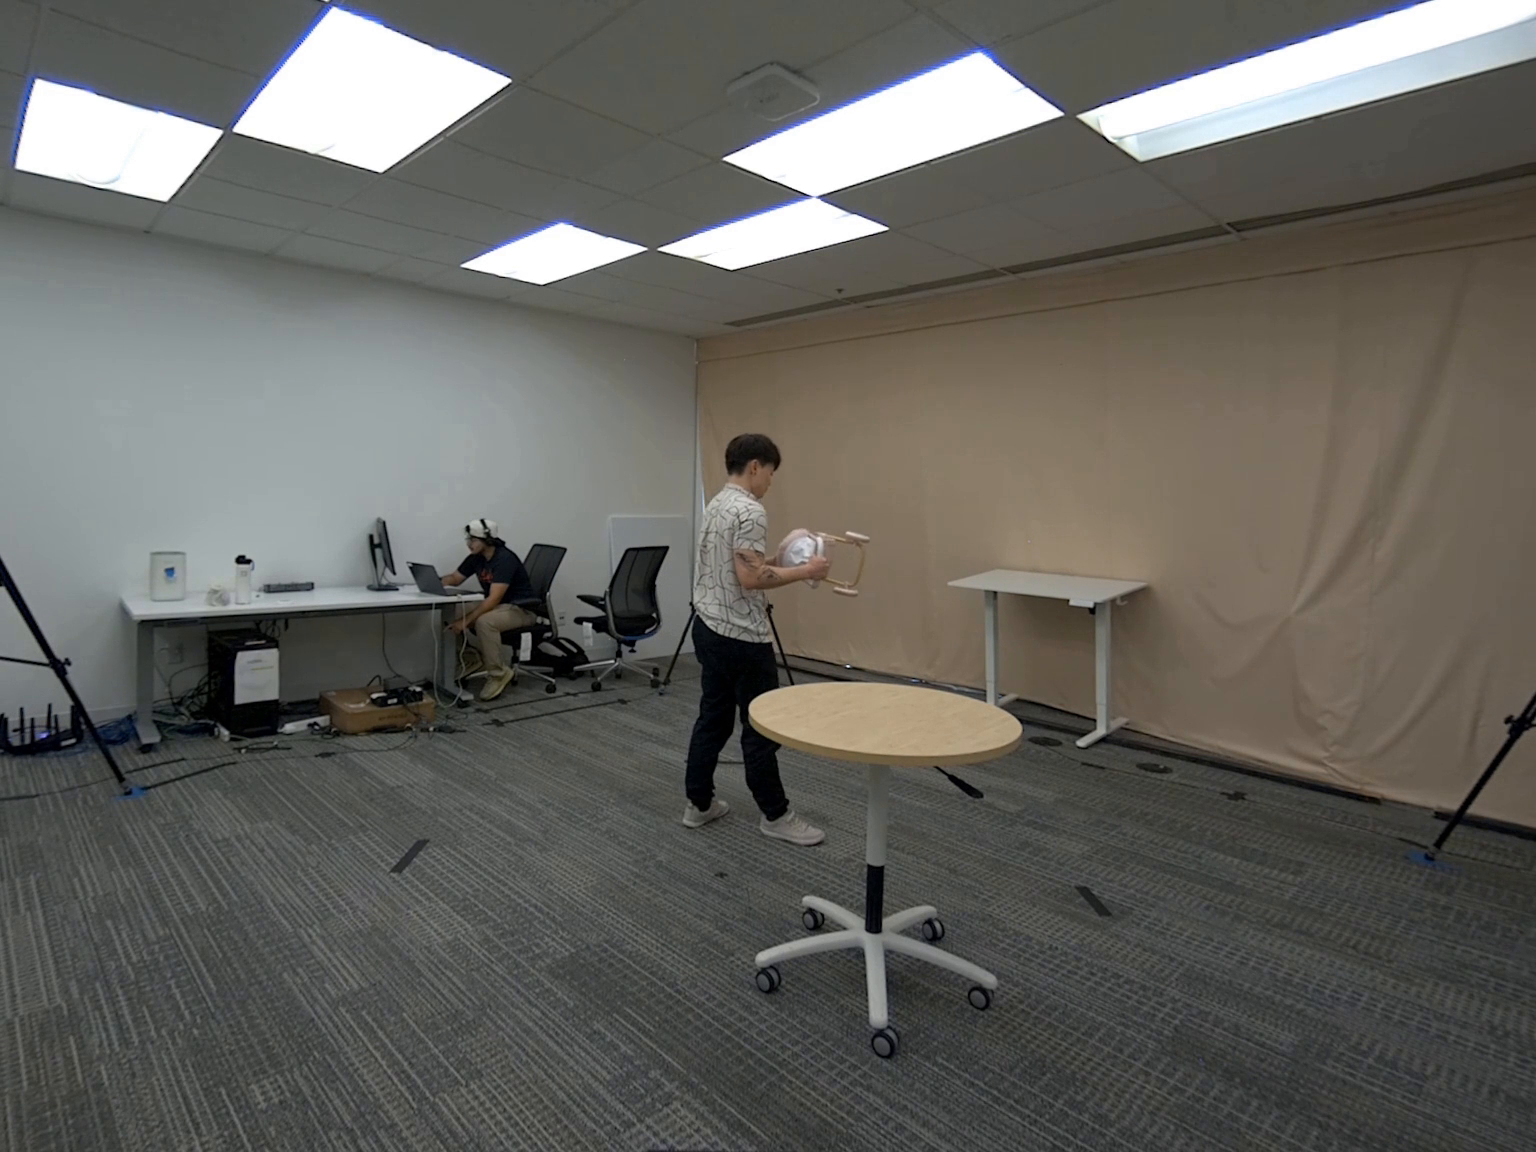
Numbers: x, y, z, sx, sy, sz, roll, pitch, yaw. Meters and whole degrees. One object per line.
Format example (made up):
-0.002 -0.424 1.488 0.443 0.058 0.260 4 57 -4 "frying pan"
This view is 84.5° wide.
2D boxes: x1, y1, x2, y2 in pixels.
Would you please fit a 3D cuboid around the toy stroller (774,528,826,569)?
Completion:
0.195 -0.082 3.646 0.350 0.280 0.523 21 9 30 "toy stroller"
